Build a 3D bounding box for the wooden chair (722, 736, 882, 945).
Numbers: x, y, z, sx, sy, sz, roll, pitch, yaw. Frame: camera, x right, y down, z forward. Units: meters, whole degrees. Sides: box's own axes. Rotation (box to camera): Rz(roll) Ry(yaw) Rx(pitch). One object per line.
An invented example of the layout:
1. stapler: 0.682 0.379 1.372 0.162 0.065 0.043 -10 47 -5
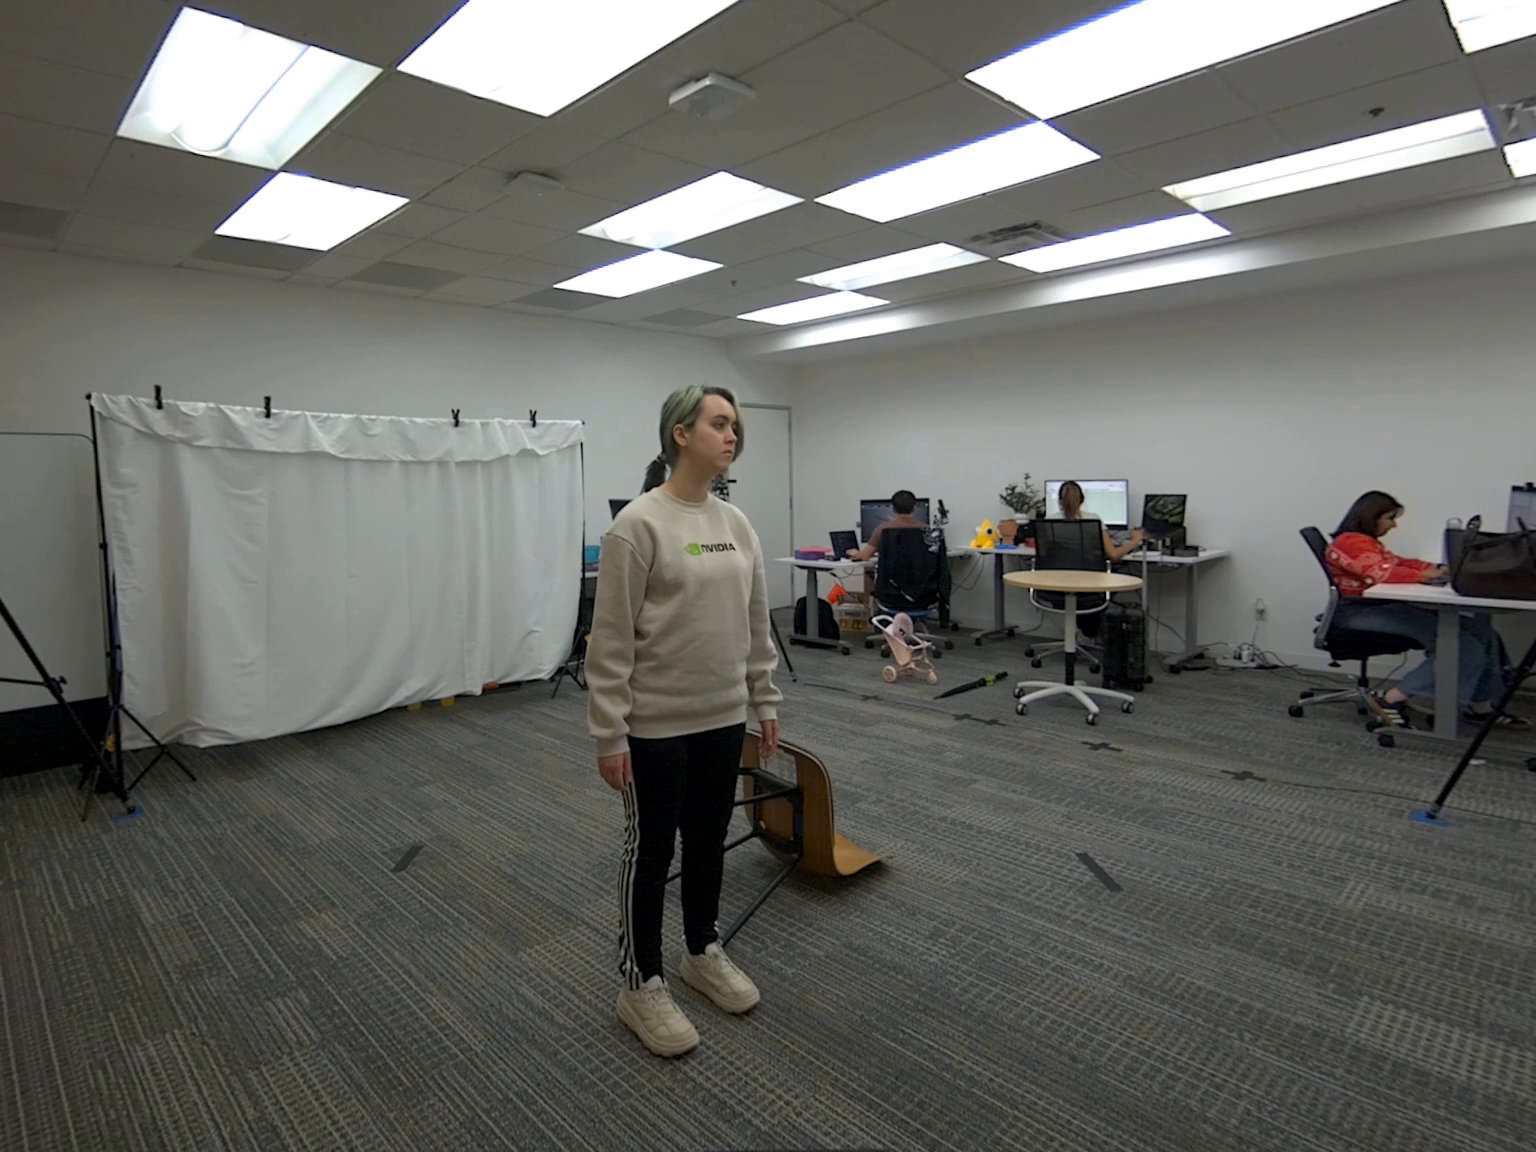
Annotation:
1. wooden chair: 0.029 0.810 2.917 0.855 0.521 0.492 -4 6 -36
